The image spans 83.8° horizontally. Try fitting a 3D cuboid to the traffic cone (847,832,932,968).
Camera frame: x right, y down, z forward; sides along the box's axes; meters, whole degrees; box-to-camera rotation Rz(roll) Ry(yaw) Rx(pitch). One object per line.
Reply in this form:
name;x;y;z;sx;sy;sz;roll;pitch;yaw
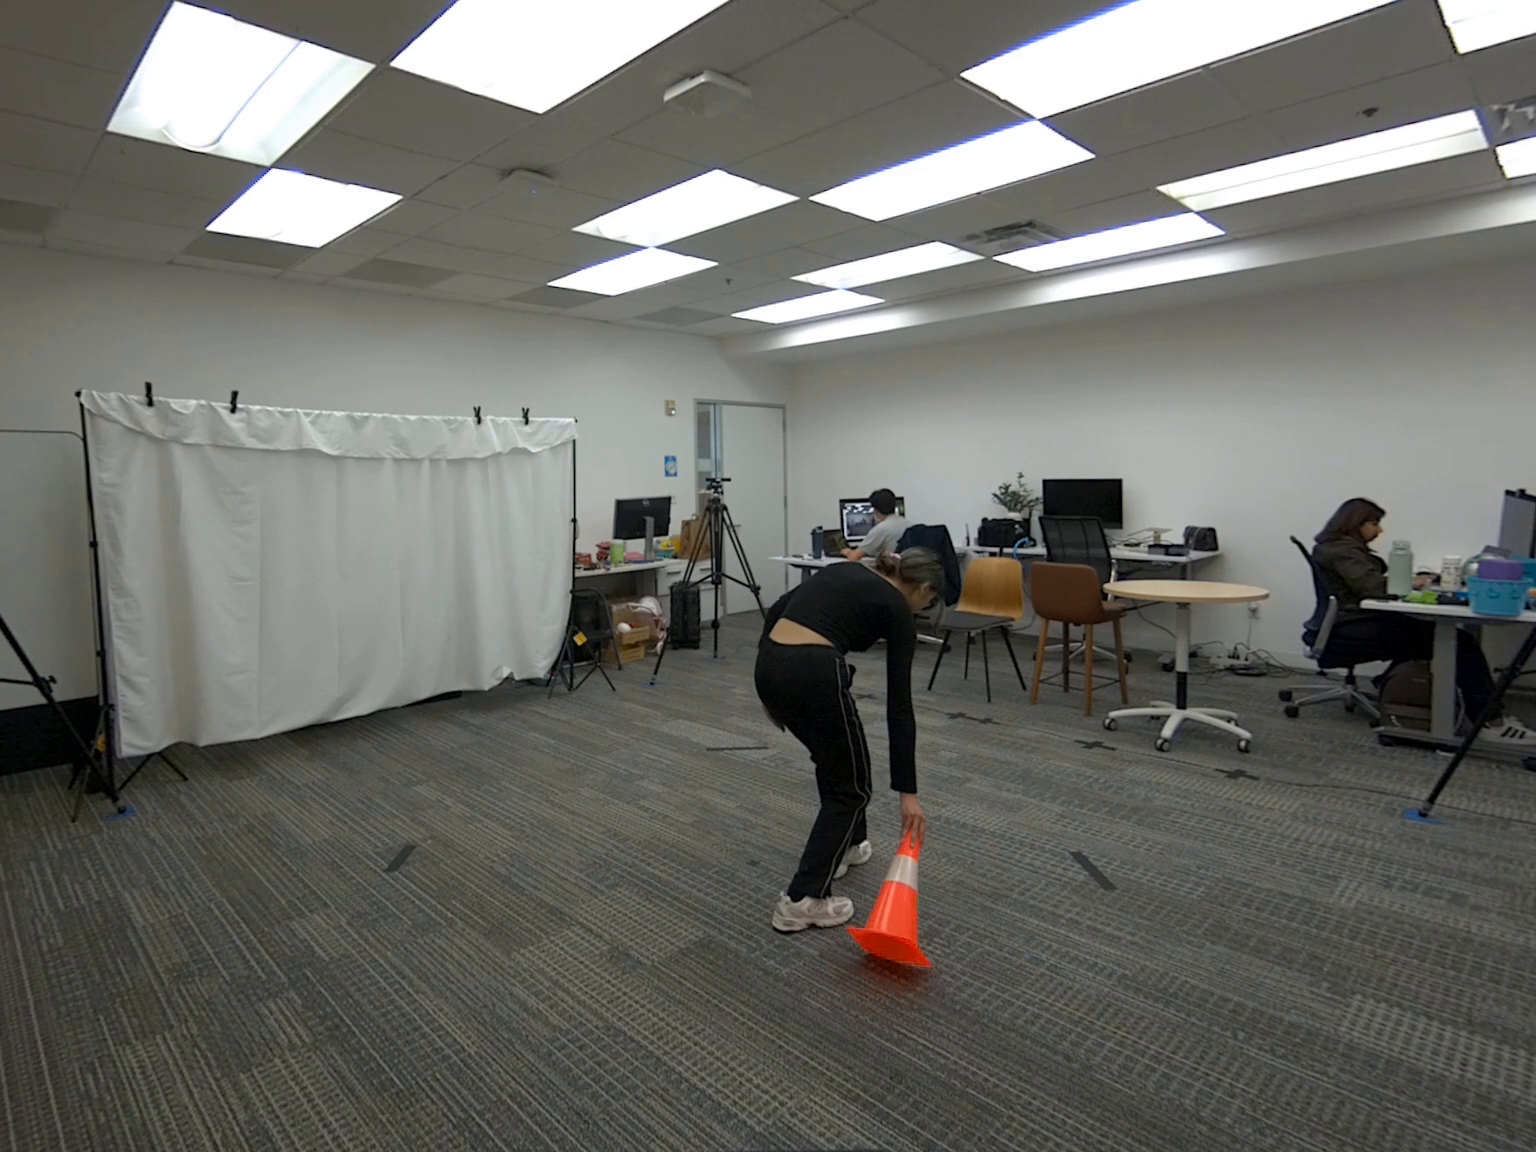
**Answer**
traffic cone;0.400;0.911;2.514;0.210;0.388;0.196;-5;-44;33
